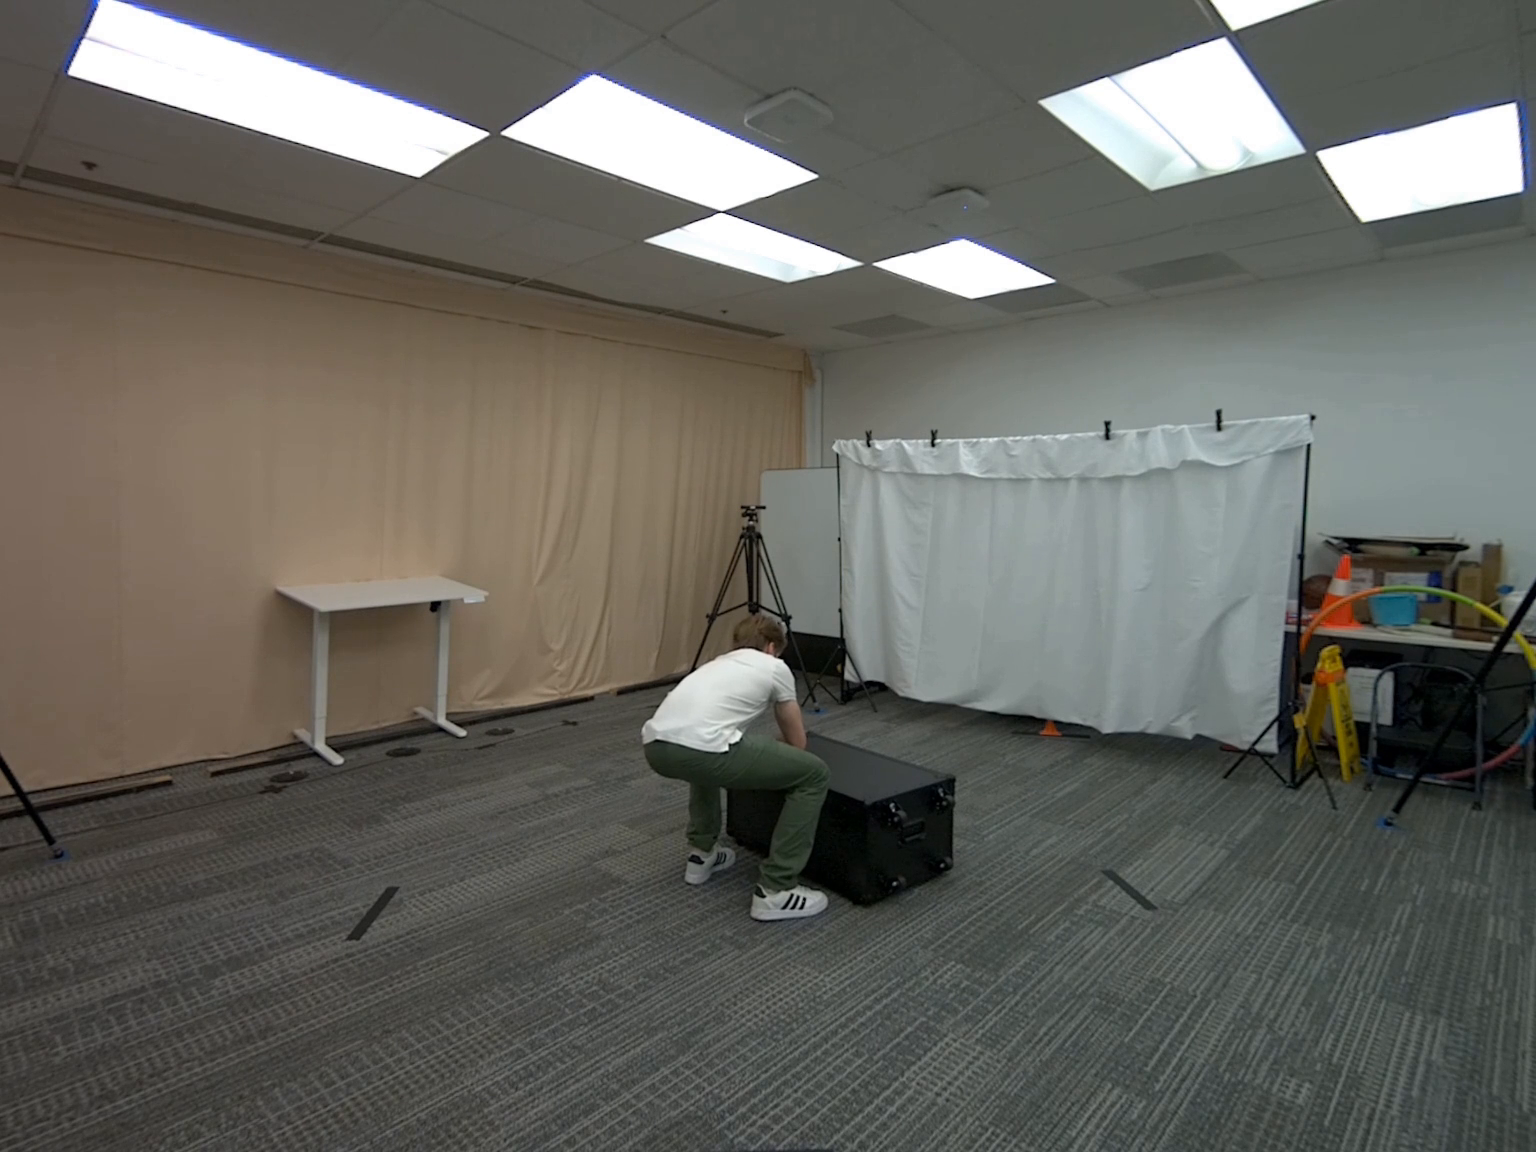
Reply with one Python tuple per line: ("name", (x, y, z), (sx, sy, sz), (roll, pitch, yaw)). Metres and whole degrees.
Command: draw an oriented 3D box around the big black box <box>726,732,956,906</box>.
("big black box", (0.282, 0.918, 3.297), (0.507, 0.384, 0.897), (-1, 4, -38))
